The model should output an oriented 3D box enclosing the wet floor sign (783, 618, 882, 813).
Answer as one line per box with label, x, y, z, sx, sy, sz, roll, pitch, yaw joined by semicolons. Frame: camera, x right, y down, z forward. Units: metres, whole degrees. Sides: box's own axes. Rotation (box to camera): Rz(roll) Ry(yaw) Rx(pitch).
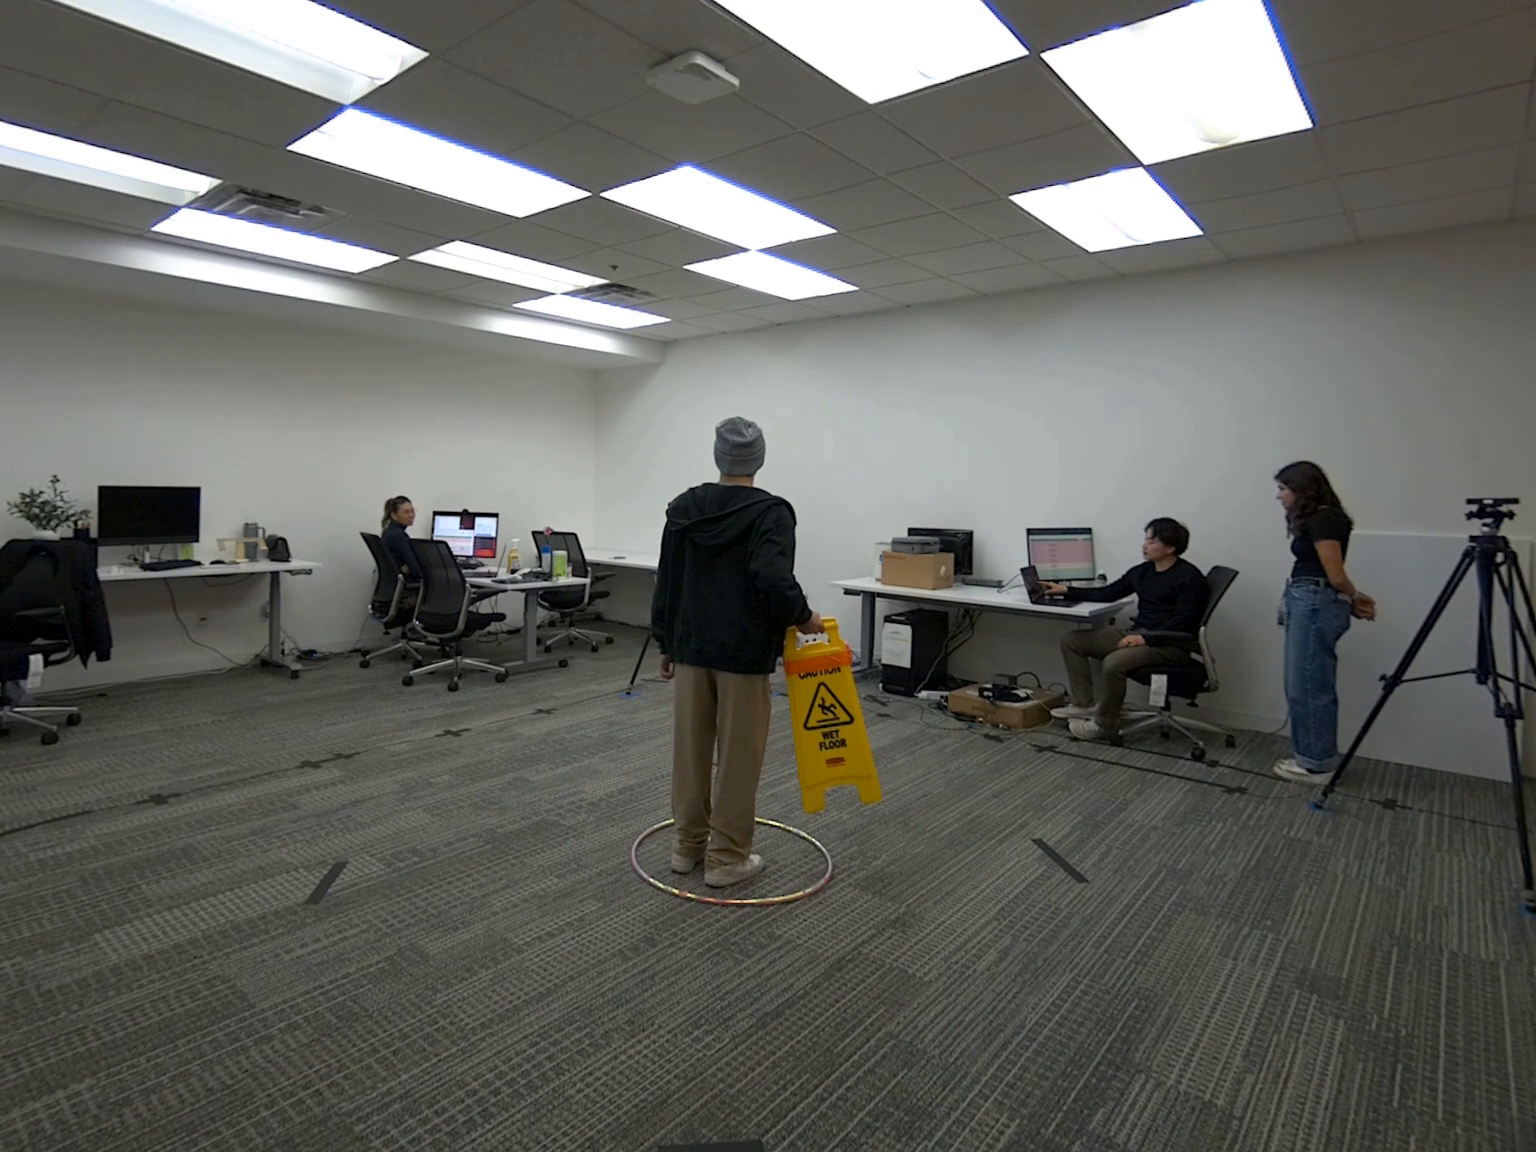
wet floor sign;0.196;0.474;3.078;0.282;0.642;0.292;-8;6;-1
